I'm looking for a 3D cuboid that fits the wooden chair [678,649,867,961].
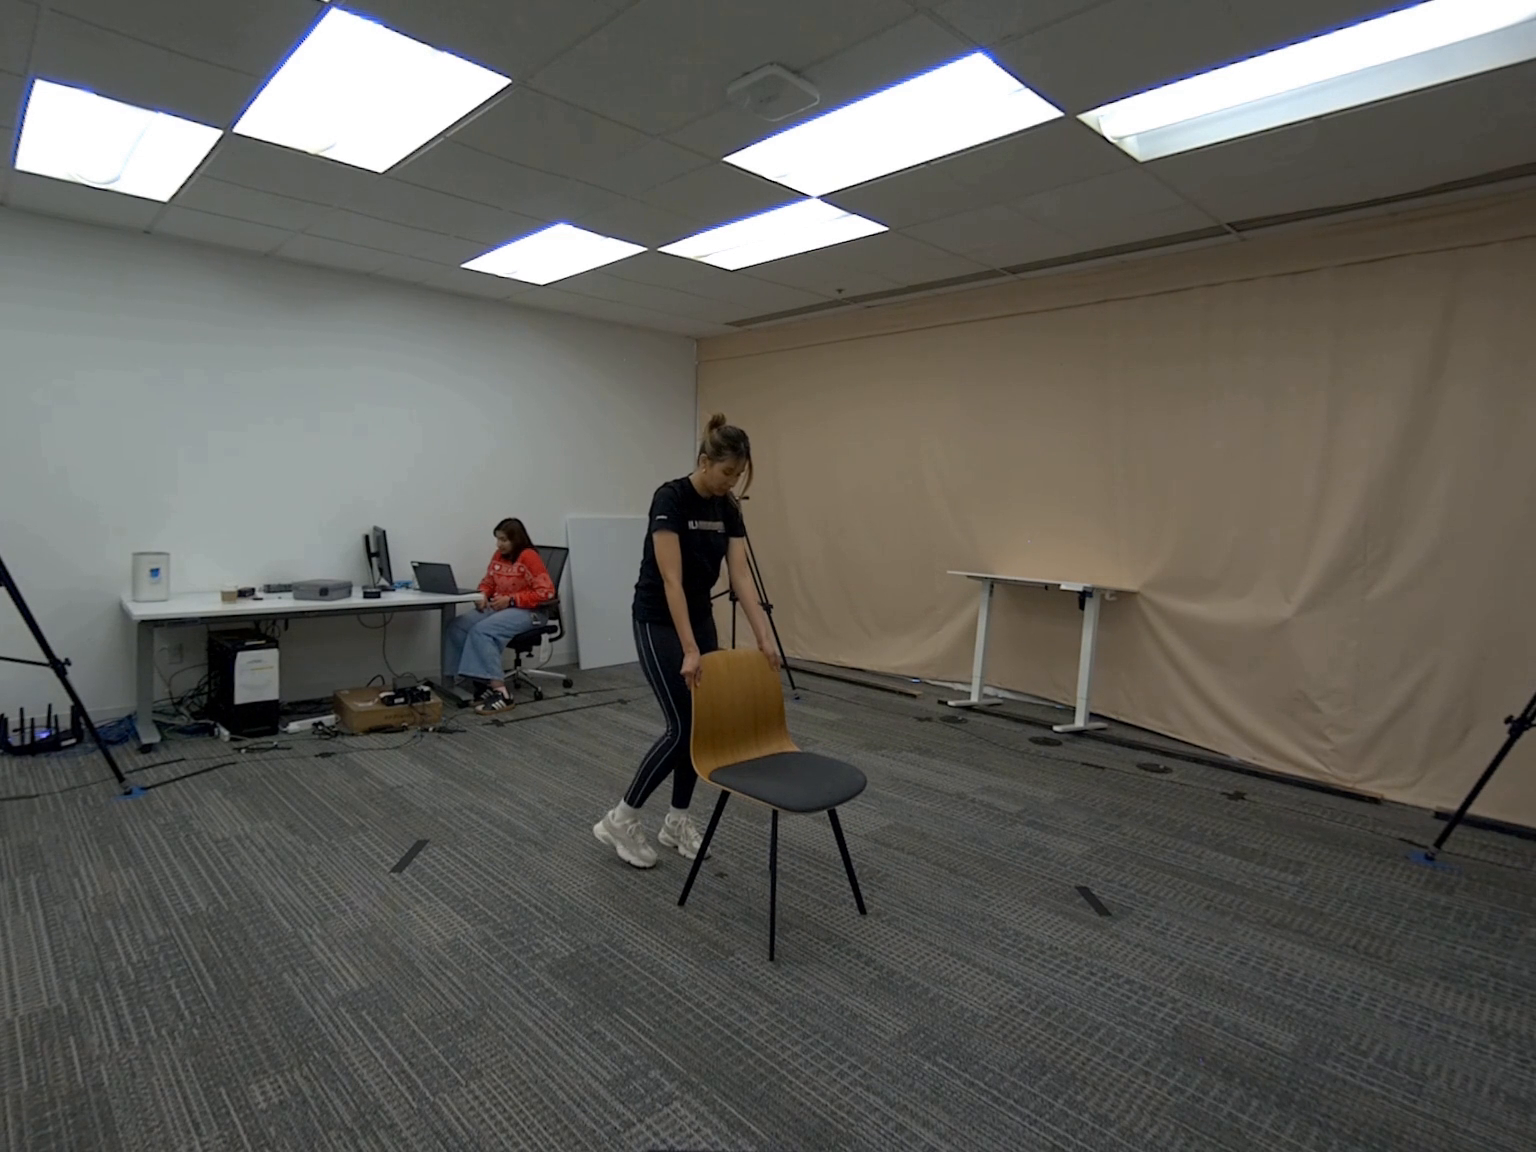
[{"bbox_3d":[0.025,0.708,2.808,0.467,0.877,0.535,-2,0,-43],"label":"wooden chair"}]
